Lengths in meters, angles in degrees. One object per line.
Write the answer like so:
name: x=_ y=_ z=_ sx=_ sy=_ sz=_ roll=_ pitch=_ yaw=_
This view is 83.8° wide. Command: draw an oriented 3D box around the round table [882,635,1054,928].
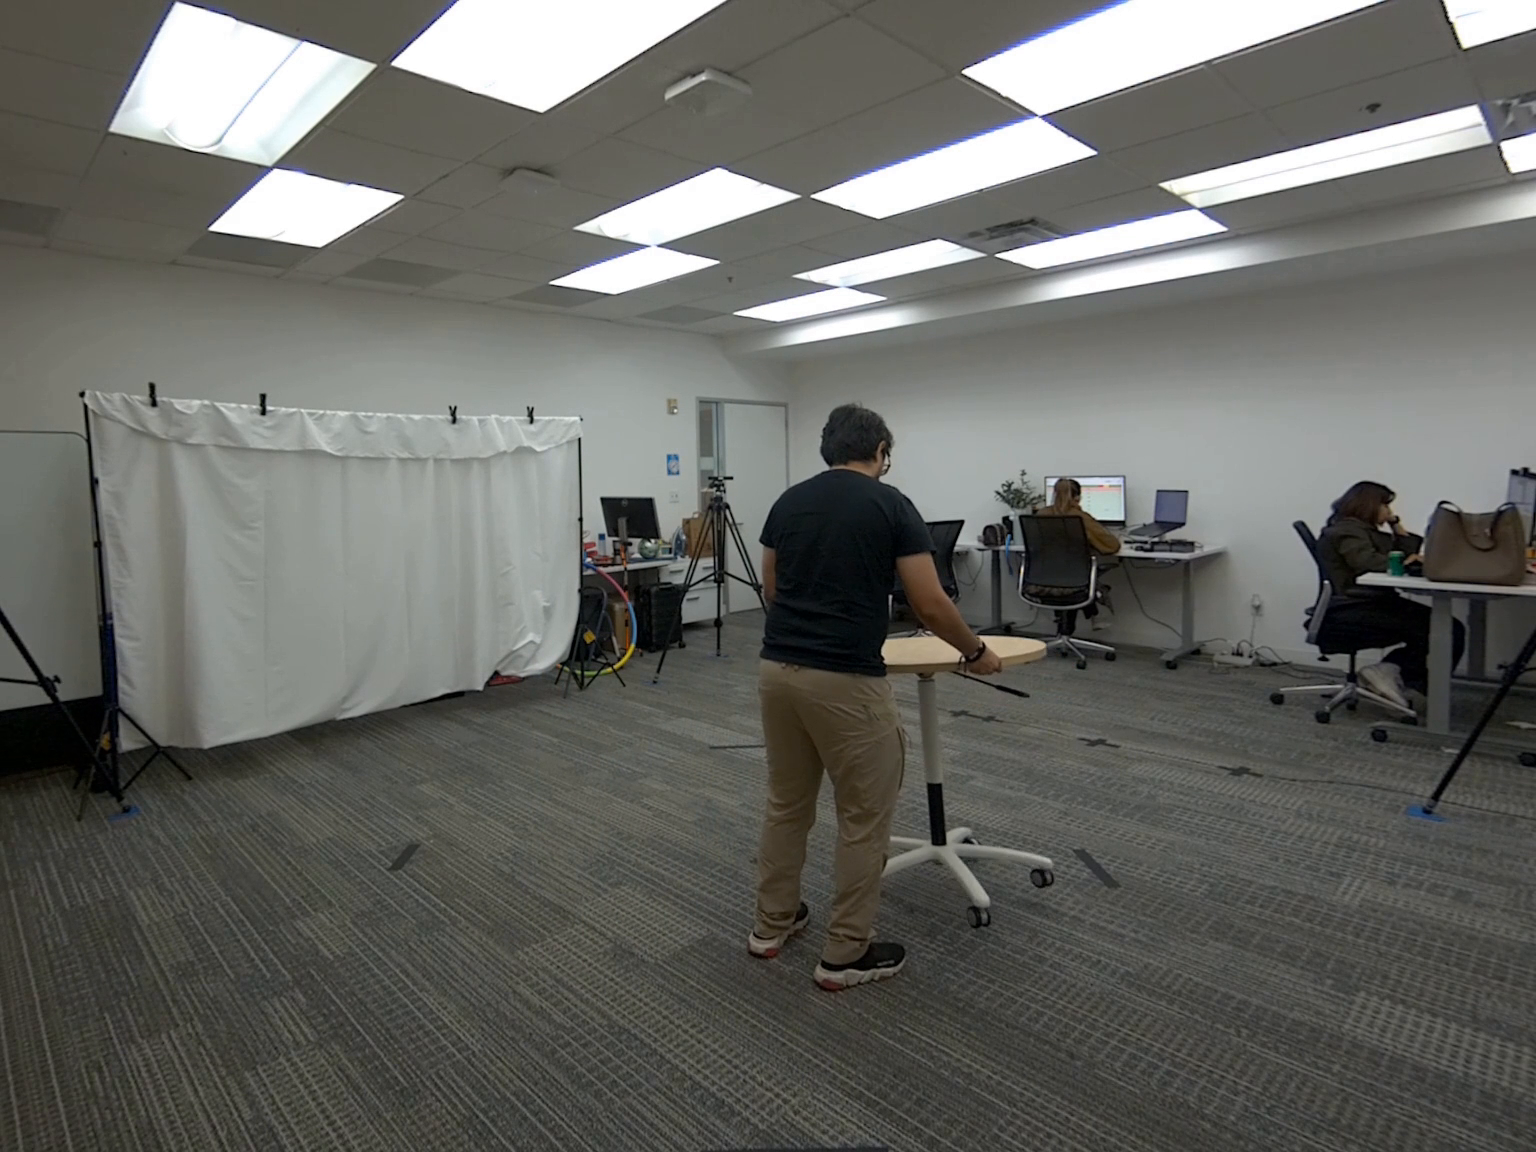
round table: x=0.566 y=0.631 z=2.822 sx=0.784 sy=0.787 sz=0.785 roll=-4 pitch=0 yaw=-2
